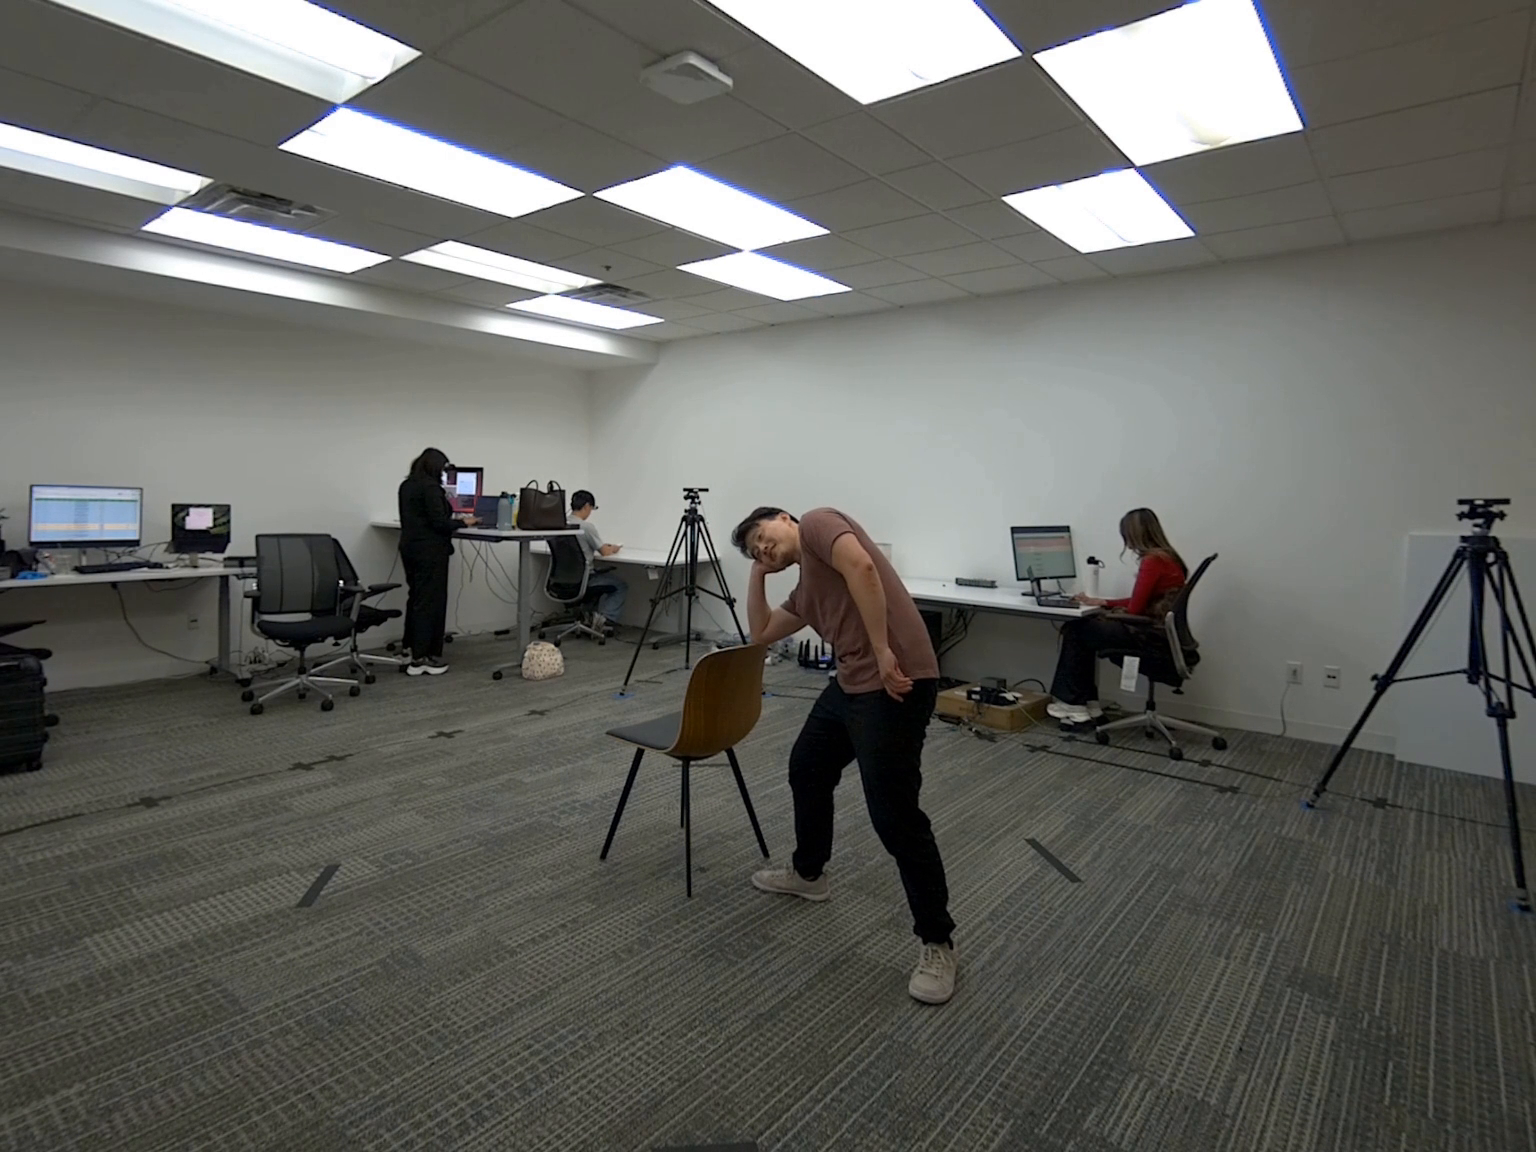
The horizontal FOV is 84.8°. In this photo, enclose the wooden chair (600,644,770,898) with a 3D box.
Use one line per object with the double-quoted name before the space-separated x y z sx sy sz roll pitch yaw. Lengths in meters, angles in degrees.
"wooden chair" -0.319 0.633 3.178 0.542 0.873 0.464 10 8 39
